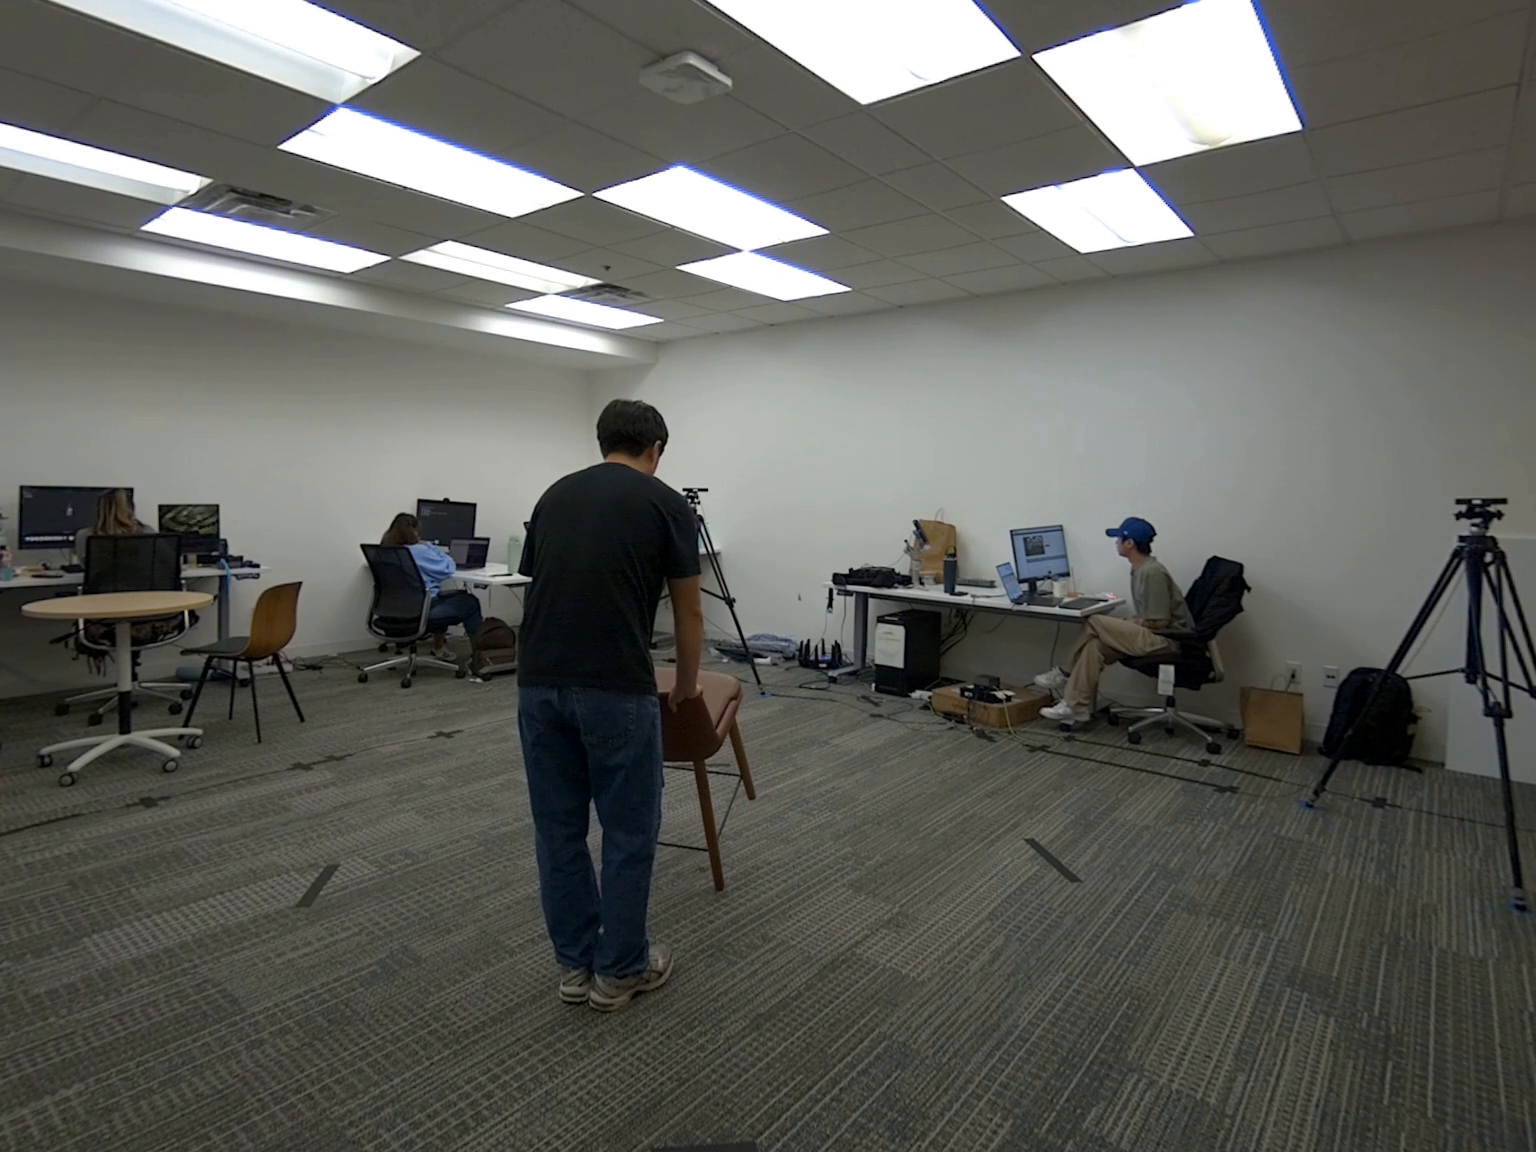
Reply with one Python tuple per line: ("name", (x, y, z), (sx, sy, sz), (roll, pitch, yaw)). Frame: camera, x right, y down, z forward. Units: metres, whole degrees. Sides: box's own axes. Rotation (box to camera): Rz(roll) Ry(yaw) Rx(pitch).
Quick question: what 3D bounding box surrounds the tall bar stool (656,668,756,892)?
("tall bar stool", (-0.338, 0.598, 2.974), (0.465, 0.865, 0.472), (3, 32, 15))
